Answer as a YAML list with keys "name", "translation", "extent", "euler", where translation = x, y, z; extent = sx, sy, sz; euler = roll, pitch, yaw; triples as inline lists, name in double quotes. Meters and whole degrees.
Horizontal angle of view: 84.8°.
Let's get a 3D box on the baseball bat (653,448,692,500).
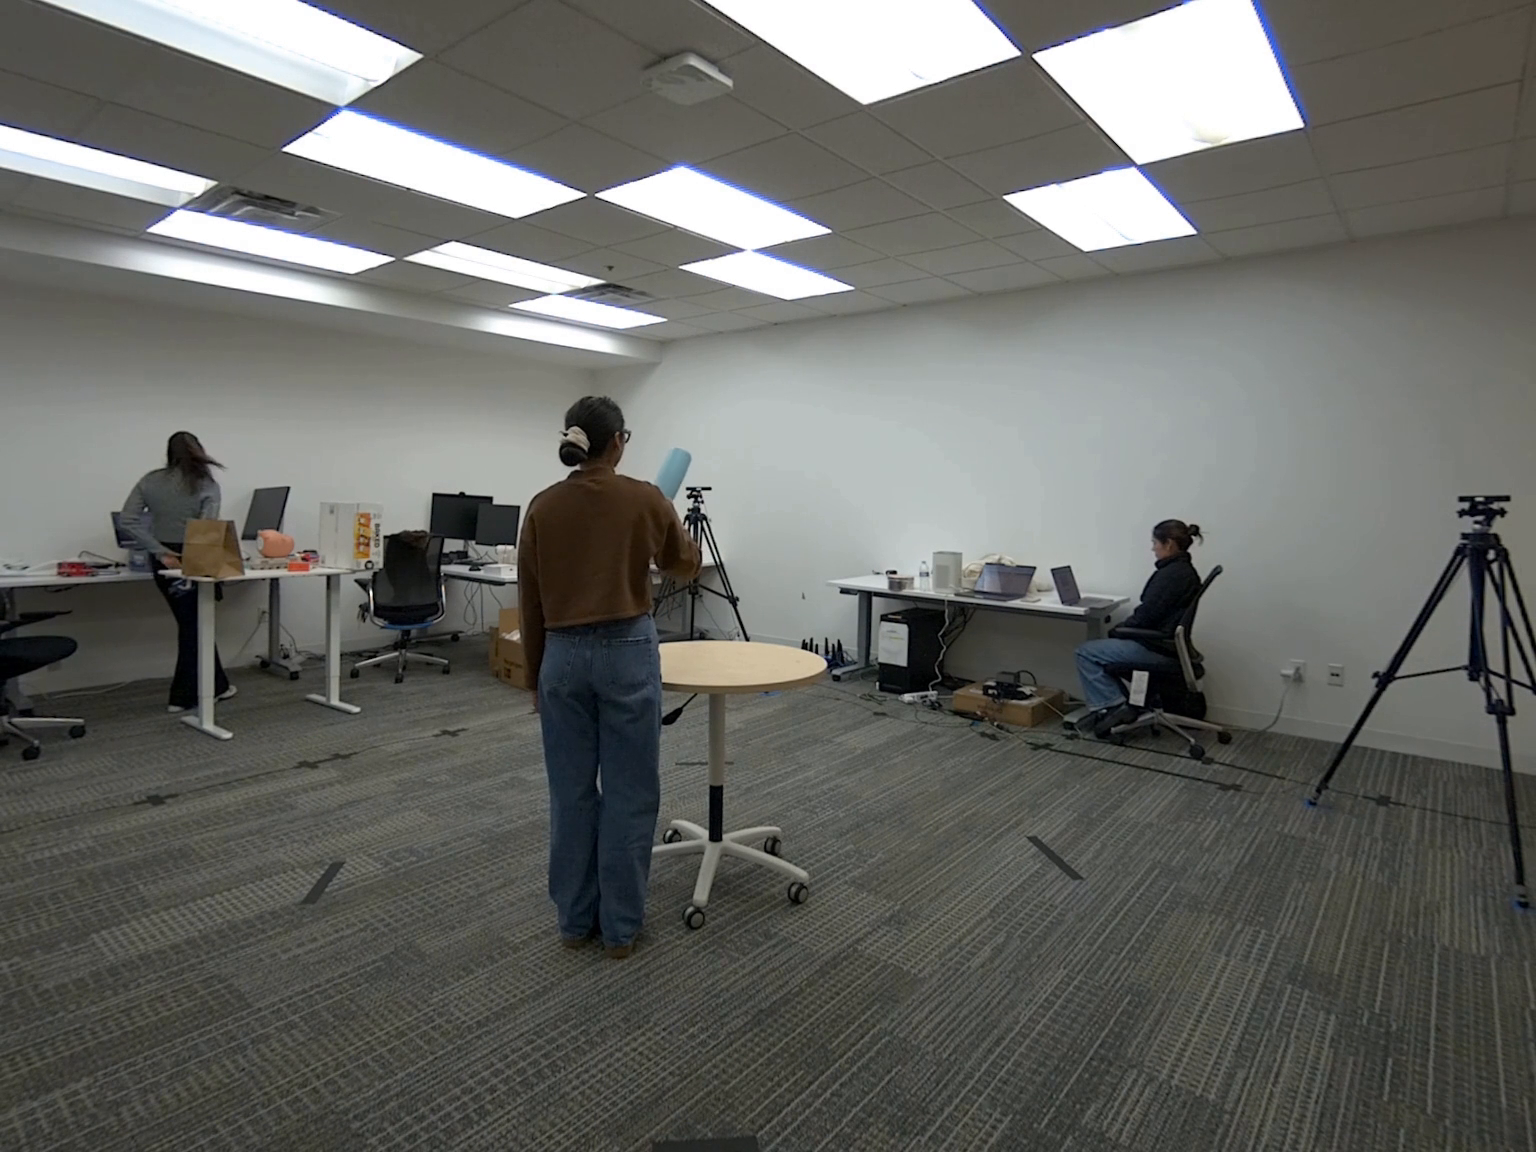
- name: "baseball bat"
  translation: [-0.393, -0.200, 2.887]
  extent: [0.090, 0.549, 0.087]
  euler: [17, -24, 6]
